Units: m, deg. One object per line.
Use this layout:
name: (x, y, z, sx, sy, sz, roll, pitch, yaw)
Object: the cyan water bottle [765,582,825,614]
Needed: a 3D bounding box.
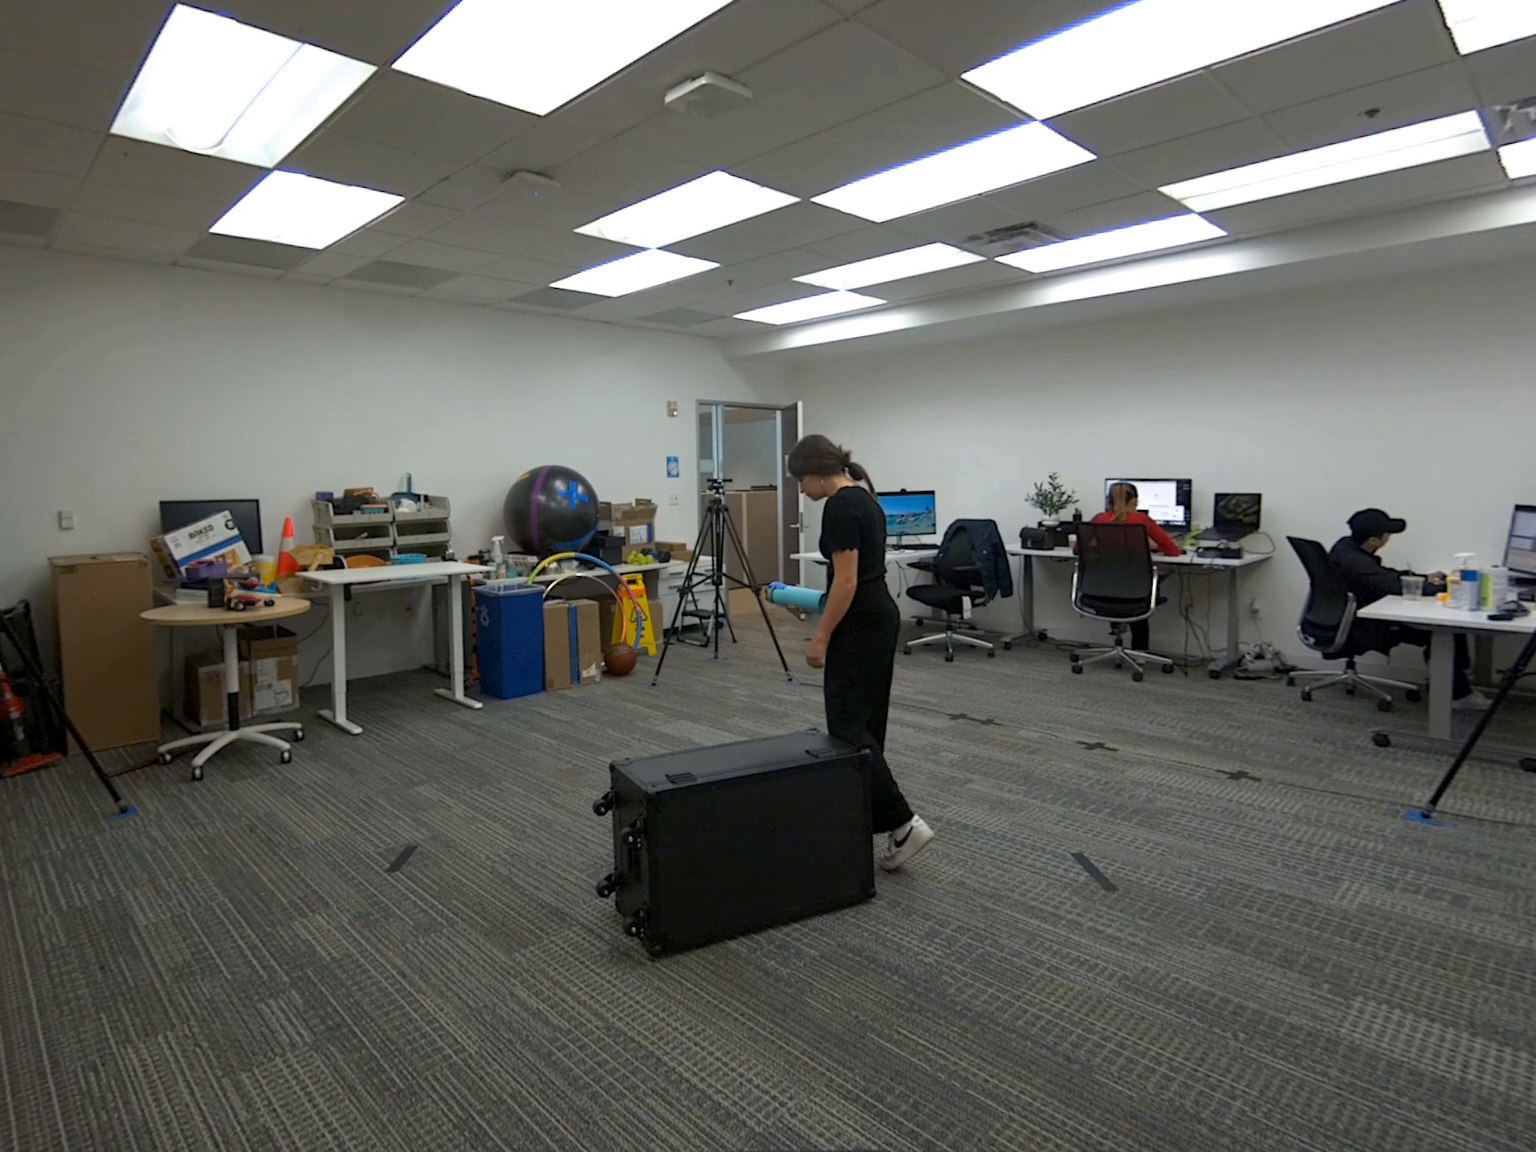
cyan water bottle: (0.121, 0.092, 3.460, 0.293, 0.092, 0.090, 11, 11, 39)
